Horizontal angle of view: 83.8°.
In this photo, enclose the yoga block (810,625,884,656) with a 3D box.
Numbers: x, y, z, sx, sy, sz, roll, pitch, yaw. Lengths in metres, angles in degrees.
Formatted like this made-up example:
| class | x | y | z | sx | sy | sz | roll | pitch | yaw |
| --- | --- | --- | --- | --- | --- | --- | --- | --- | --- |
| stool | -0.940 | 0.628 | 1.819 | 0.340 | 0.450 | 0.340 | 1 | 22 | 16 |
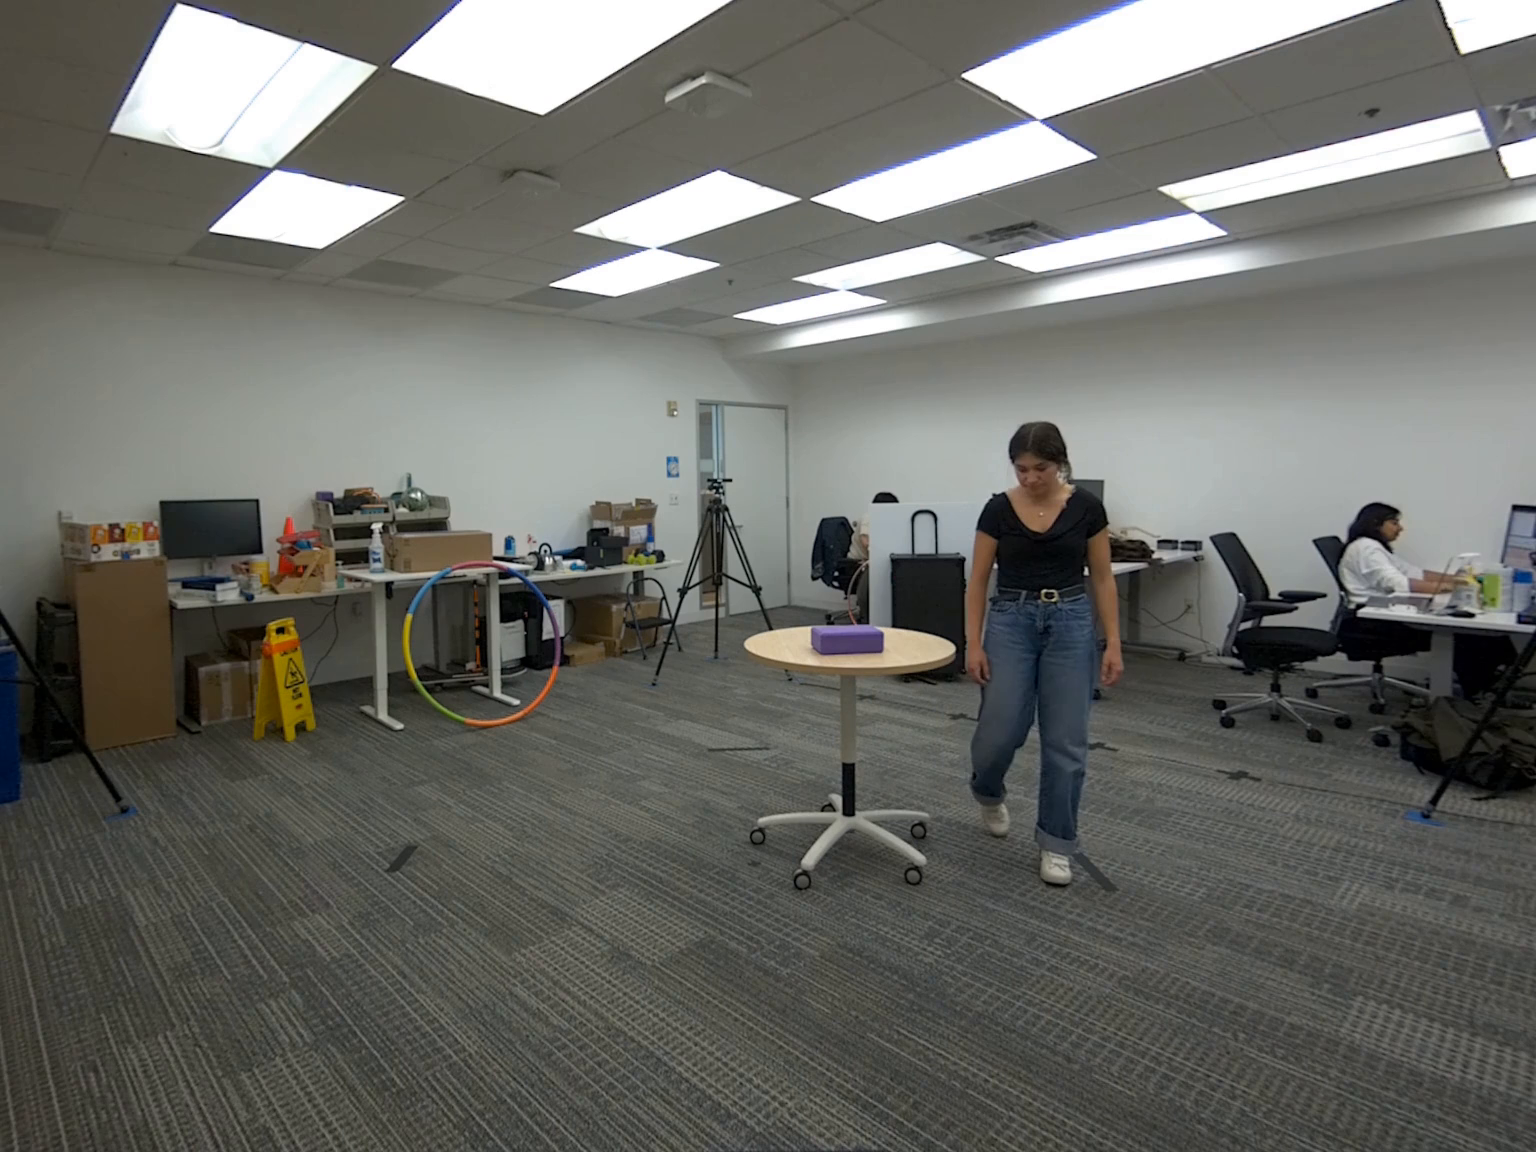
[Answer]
| class | x | y | z | sx | sy | sz | roll | pitch | yaw |
| --- | --- | --- | --- | --- | --- | --- | --- | --- | --- |
| yoga block | 0.288 | 0.229 | 3.043 | 0.227 | 0.076 | 0.151 | -1 | 6 | -8 |
